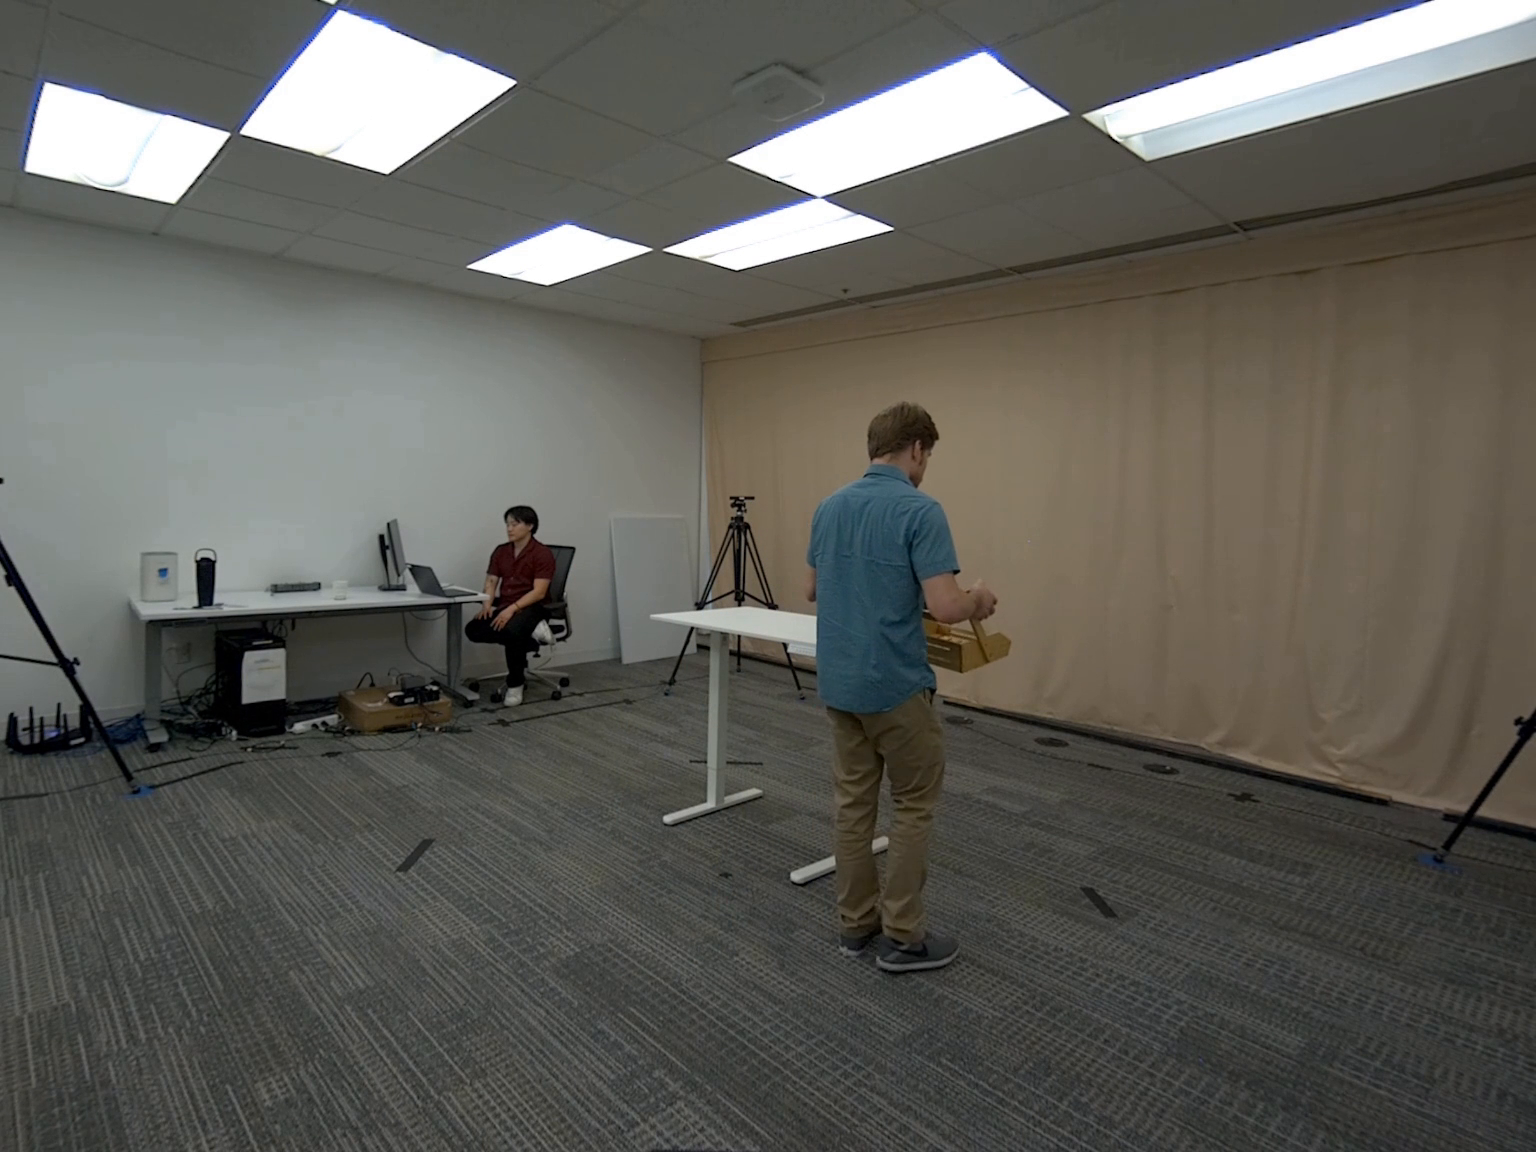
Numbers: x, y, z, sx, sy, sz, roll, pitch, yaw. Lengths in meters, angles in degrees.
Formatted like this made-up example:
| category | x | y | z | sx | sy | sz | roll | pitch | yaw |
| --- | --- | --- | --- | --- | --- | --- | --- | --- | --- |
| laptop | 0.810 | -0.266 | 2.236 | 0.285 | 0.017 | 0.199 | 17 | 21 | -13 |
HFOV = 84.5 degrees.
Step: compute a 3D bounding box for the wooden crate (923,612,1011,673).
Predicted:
| category | x | y | z | sx | sy | sz | roll | pitch | yaw |
| --- | --- | --- | --- | --- | --- | --- | --- | --- | --- |
| wooden crate | 0.573 | 0.133 | 2.751 | 0.297 | 0.271 | 0.333 | -13 | 15 | -38 |
